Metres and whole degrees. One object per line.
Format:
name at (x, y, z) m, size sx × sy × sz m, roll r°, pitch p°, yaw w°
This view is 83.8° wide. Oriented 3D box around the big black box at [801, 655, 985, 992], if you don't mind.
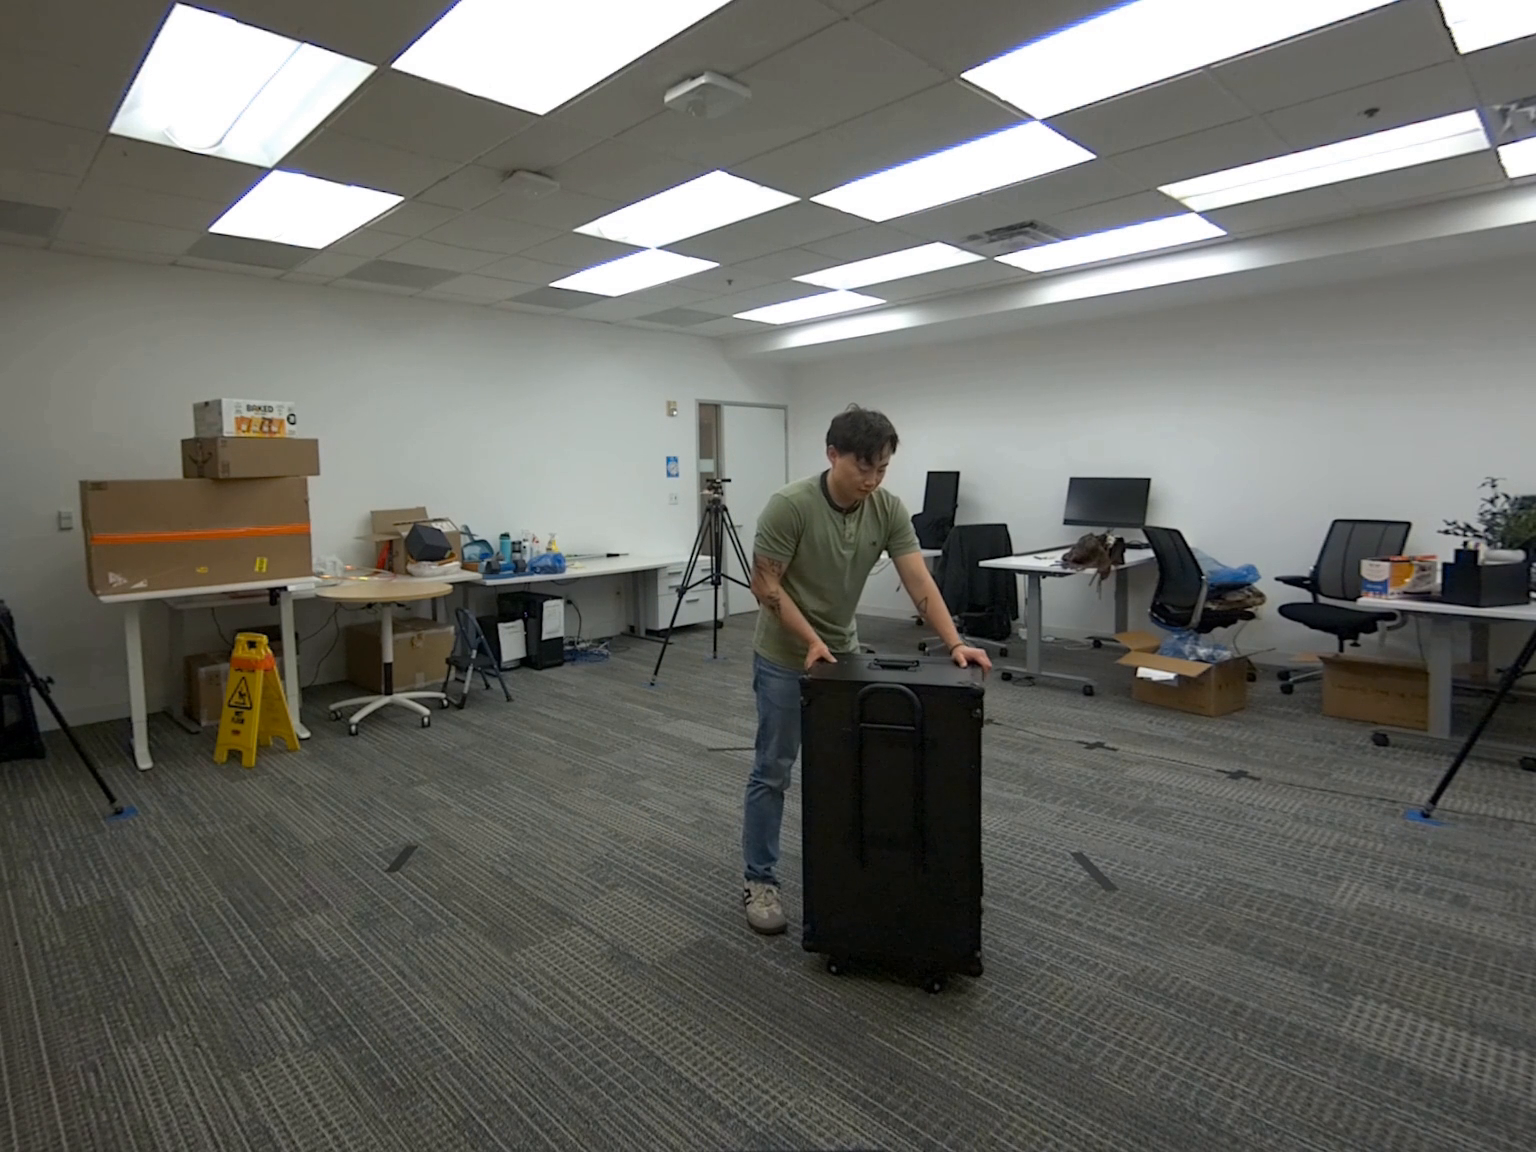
big black box at (0.380, 0.687, 2.455) m, size 0.530 × 0.857 × 0.391 m, roll 0°, pitch 5°, yaw 18°
